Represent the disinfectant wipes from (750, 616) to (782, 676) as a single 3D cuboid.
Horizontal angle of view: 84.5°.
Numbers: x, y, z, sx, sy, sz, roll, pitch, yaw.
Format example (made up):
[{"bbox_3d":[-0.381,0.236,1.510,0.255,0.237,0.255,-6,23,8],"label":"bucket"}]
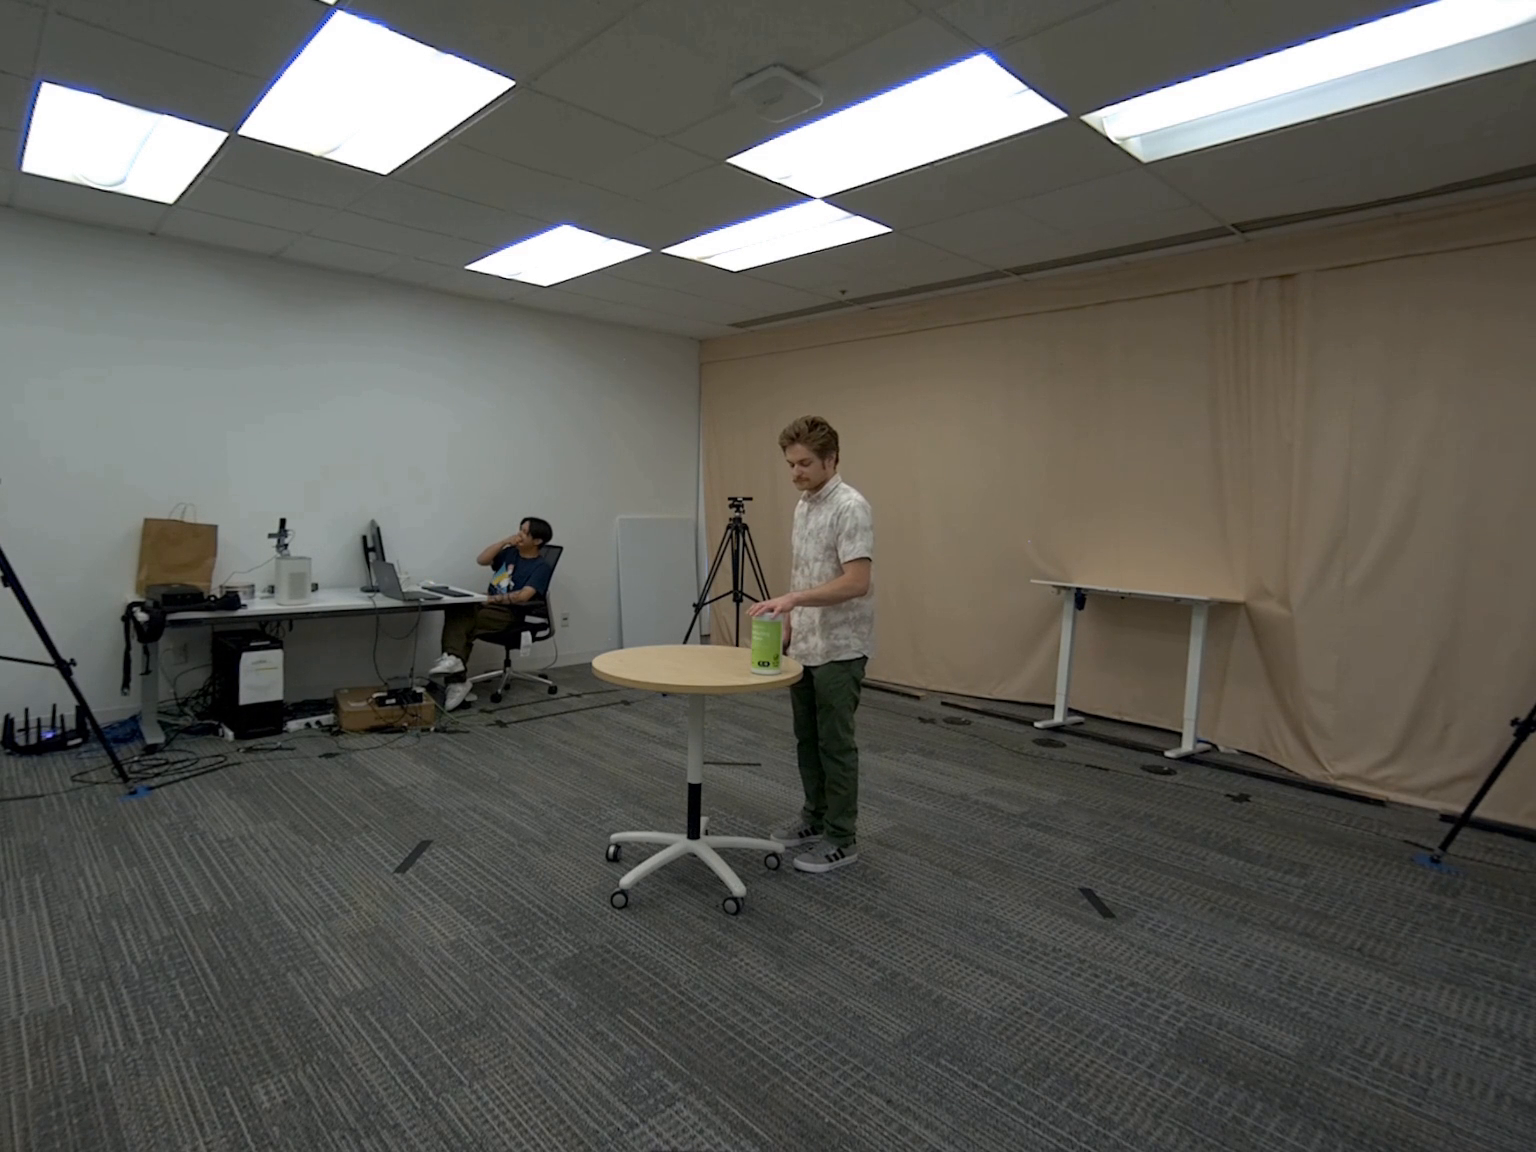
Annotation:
[{"bbox_3d":[-0.012,0.236,2.926,0.118,0.217,0.118,1,5,-1],"label":"disinfectant wipes"}]
